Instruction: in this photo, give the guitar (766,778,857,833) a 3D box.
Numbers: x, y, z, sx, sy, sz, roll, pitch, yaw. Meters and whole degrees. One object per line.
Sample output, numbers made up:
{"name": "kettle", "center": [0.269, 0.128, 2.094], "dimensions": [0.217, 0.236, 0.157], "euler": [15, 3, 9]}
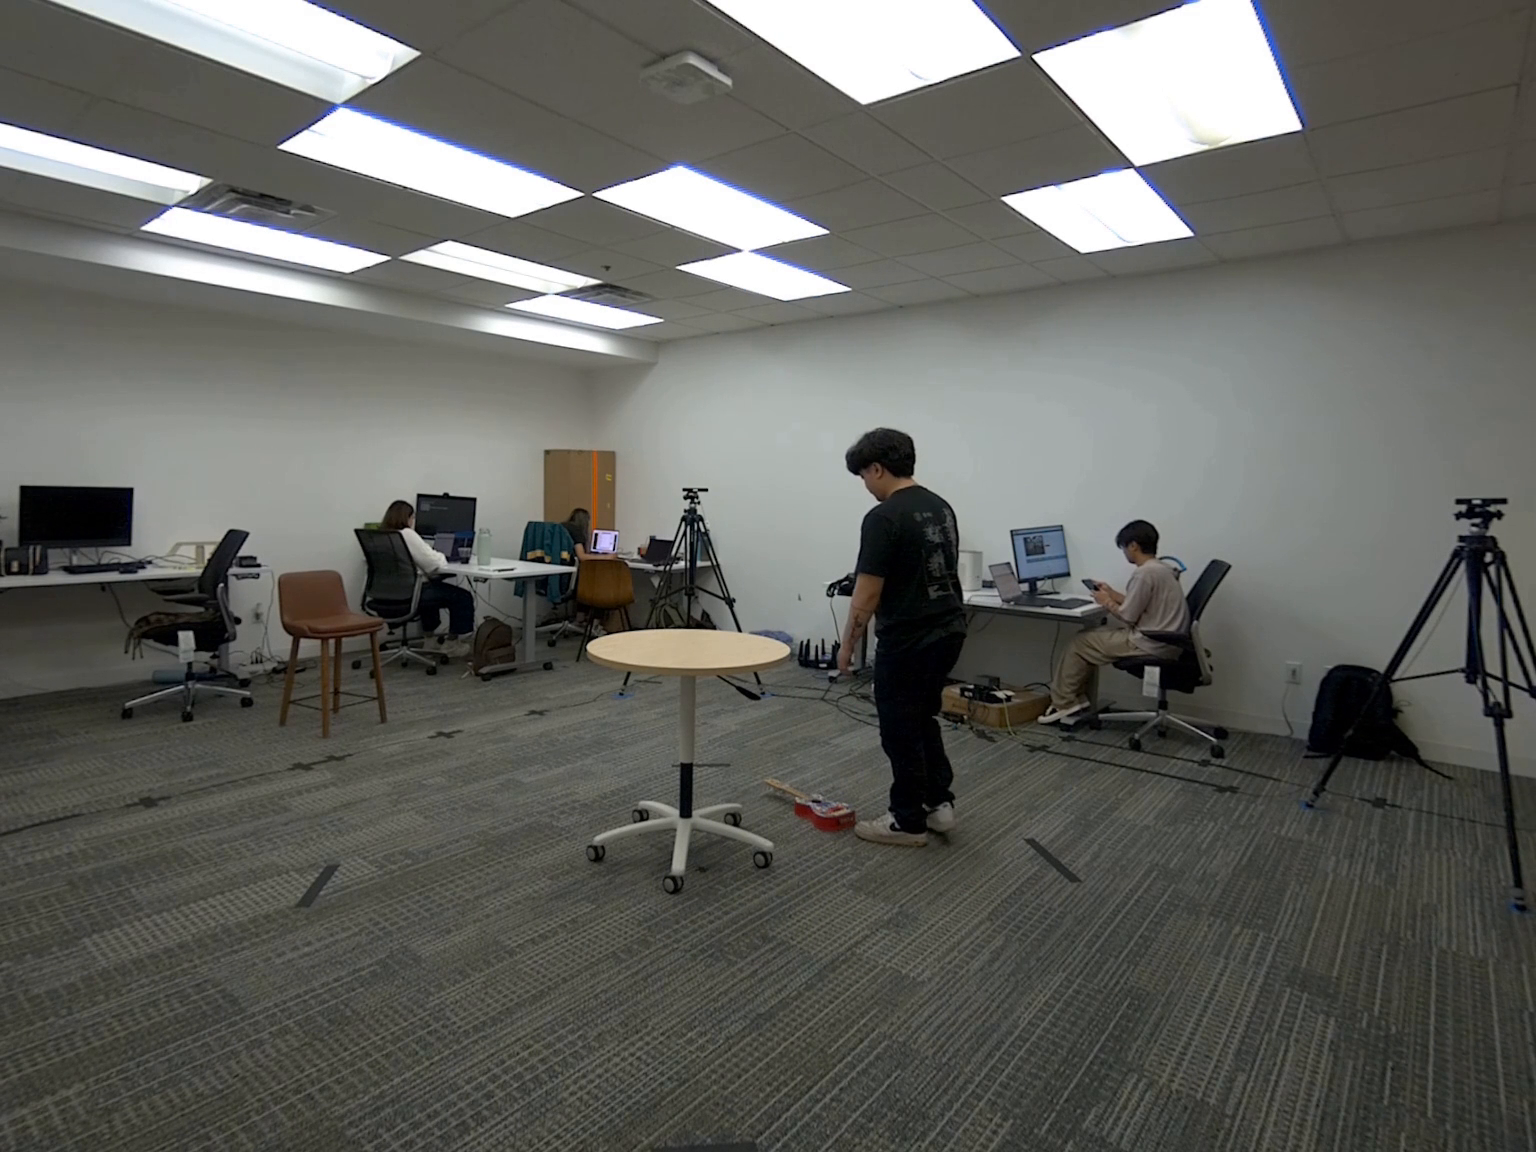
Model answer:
{"name": "guitar", "center": [0.176, 0.985, 3.730], "dimensions": [0.188, 0.070, 0.513], "euler": [-2, 7, -30]}
